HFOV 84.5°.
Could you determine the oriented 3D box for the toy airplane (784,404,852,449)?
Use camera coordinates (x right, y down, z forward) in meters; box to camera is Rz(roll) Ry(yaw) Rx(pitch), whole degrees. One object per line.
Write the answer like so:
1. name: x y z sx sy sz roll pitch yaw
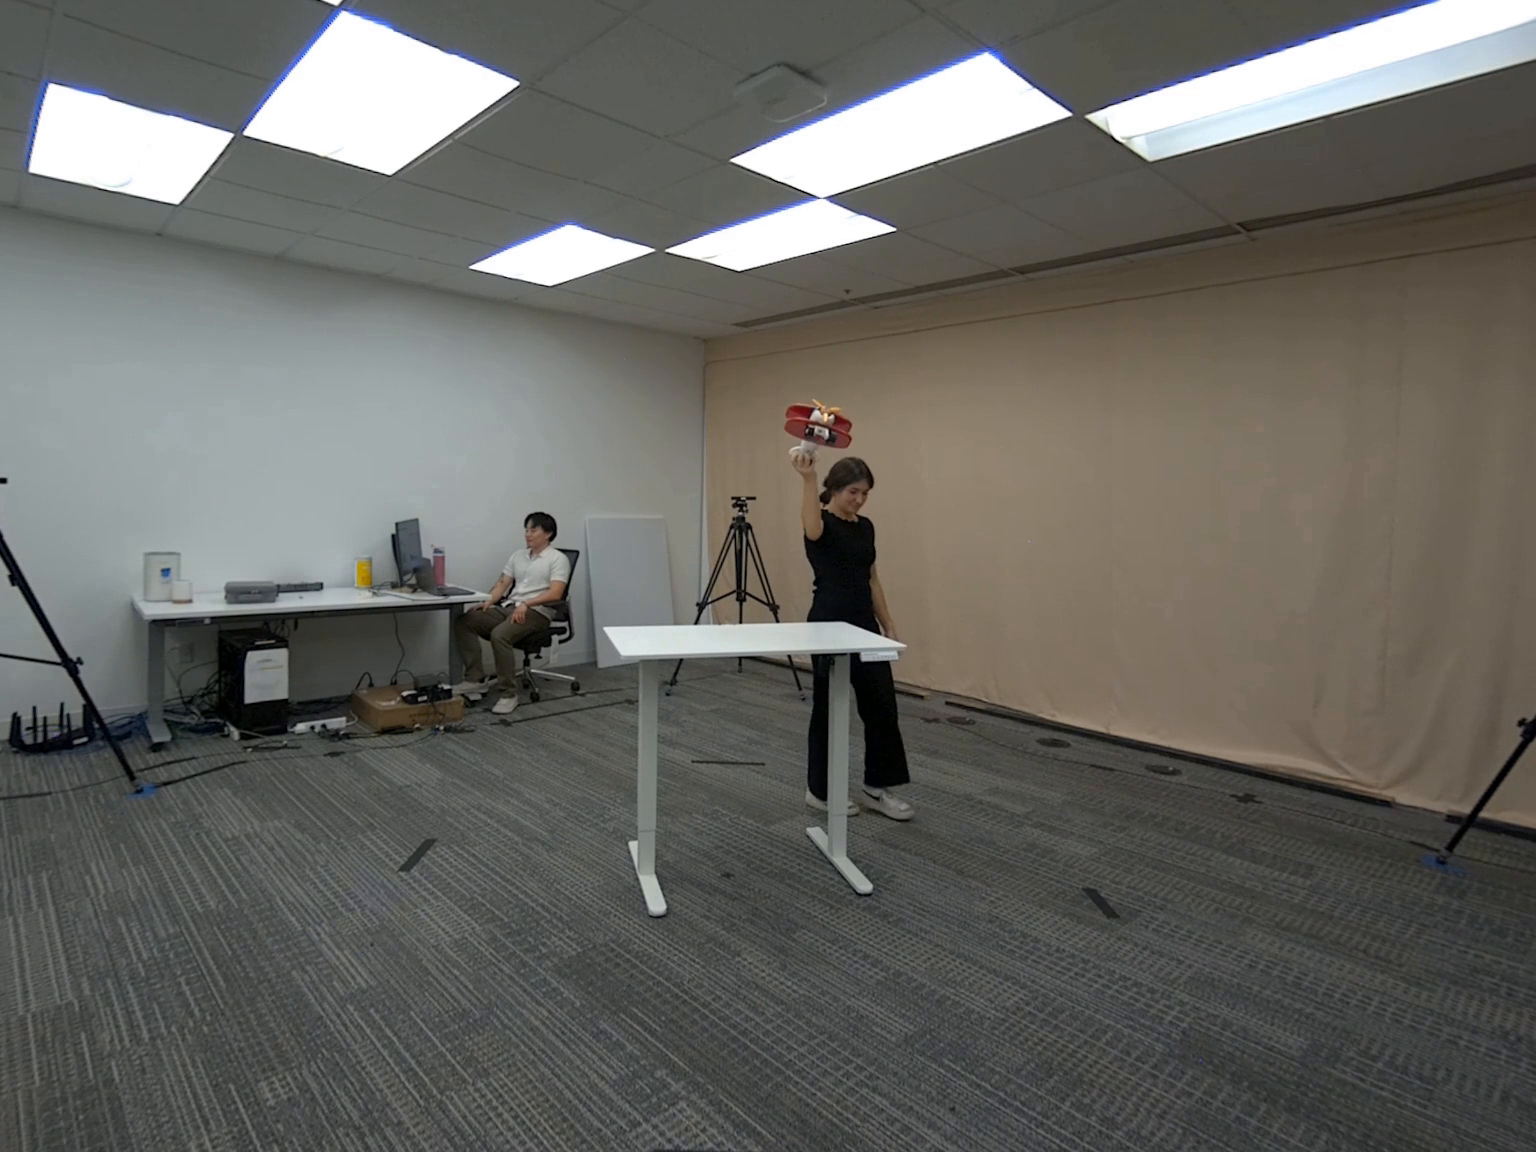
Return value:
1. toy airplane: 0.158 -0.528 3.160 0.244 0.158 0.263 29 -31 -34
